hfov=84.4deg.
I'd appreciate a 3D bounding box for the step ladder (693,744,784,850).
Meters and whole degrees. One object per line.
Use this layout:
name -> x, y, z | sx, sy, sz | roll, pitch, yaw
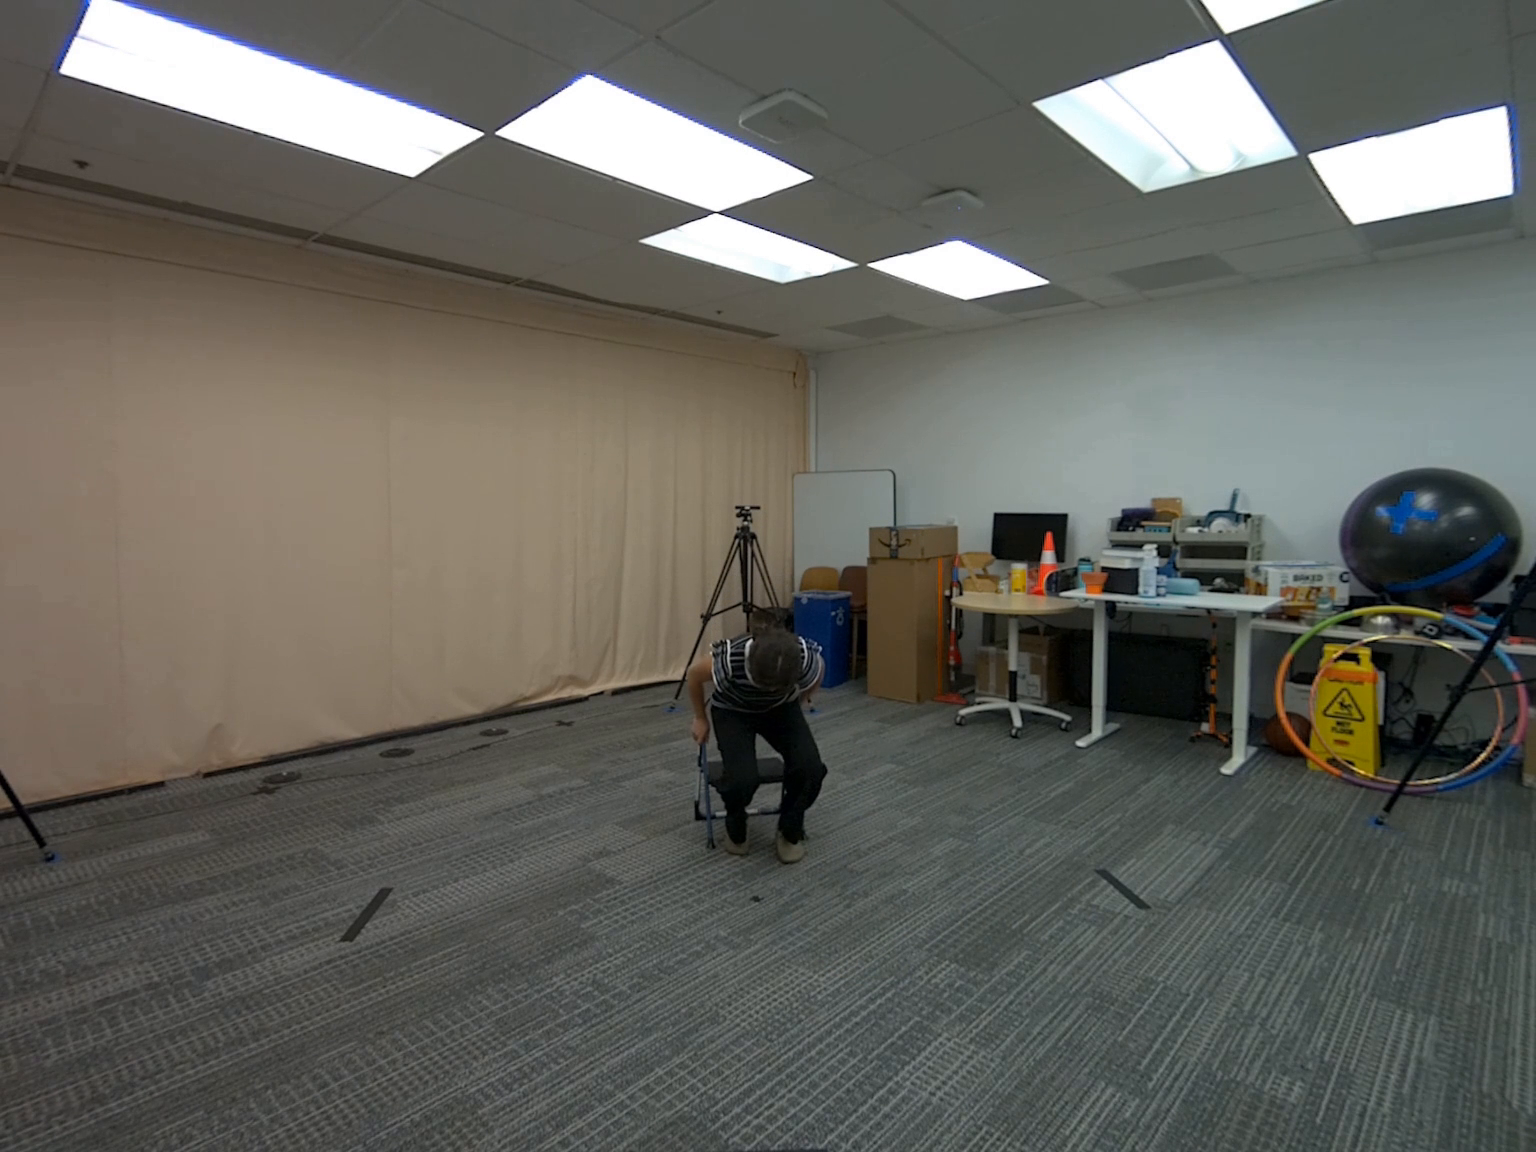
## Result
step ladder -> -0.082, 0.791, 3.622 | 0.424, 0.605, 0.355 | -1, 3, -14
